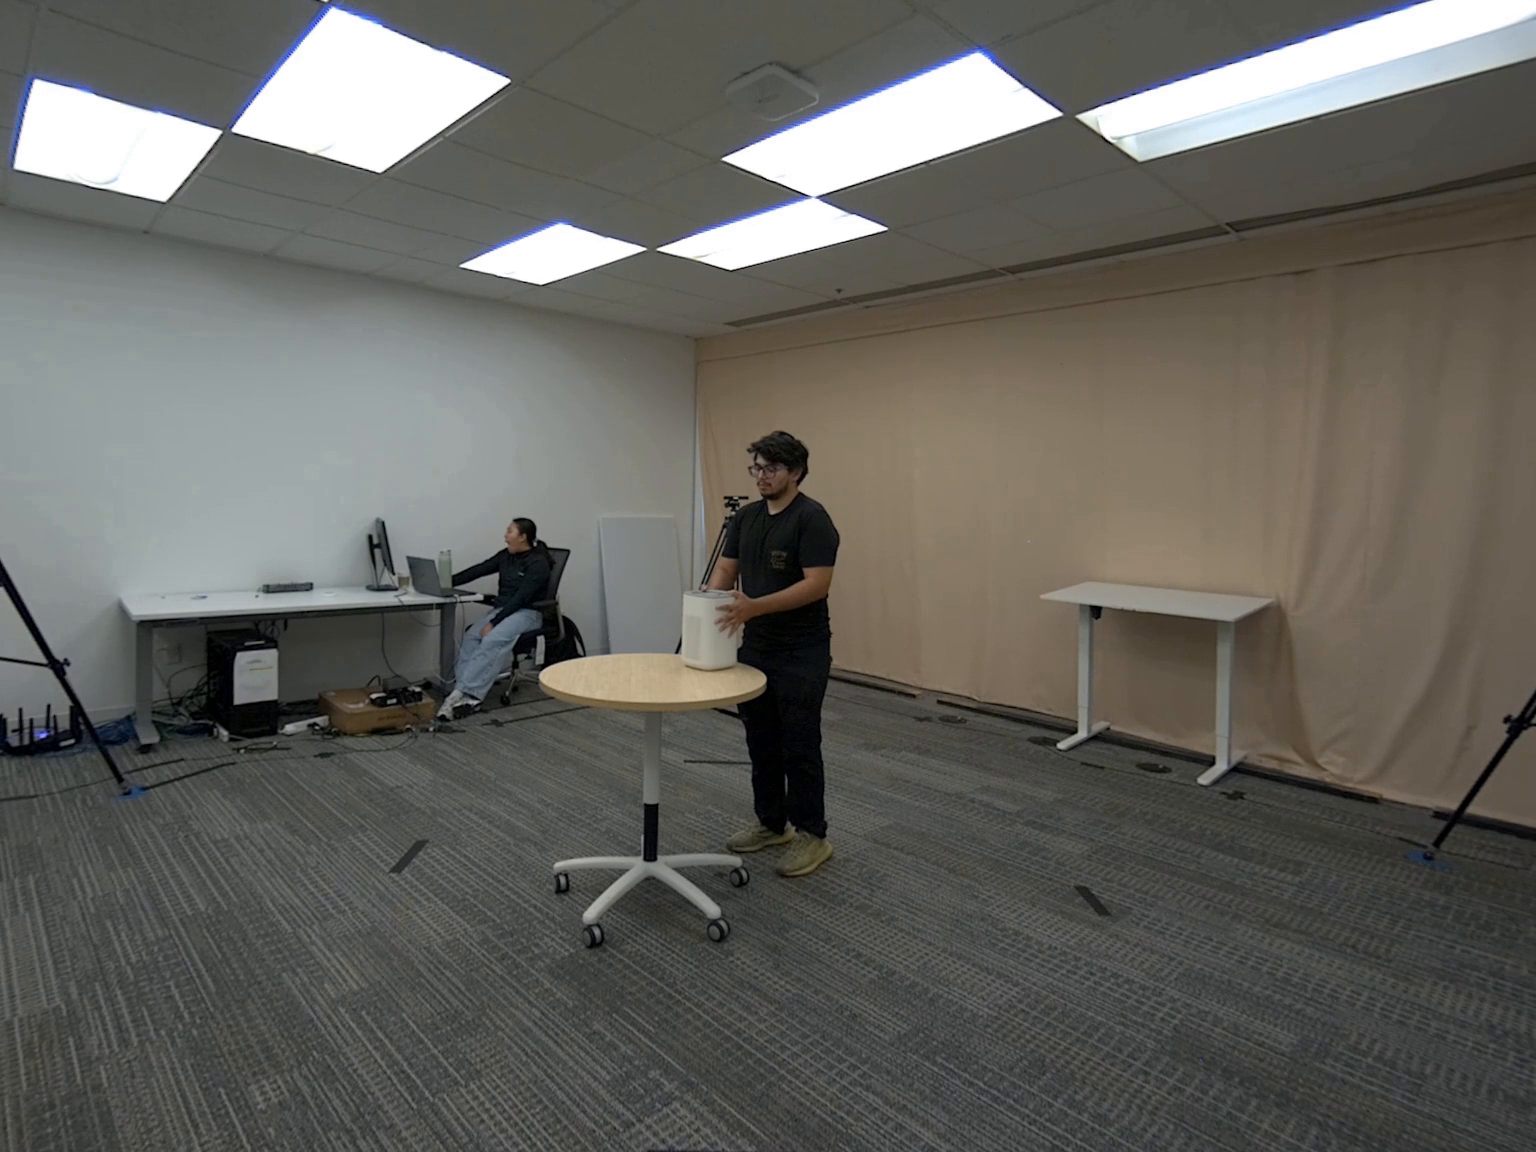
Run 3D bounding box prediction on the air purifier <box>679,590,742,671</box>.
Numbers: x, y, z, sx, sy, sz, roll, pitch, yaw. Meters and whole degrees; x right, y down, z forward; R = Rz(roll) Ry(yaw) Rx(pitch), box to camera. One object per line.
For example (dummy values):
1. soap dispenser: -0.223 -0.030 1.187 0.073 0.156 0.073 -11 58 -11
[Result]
1. air purifier: -0.212 0.192 3.019 0.176 0.265 0.167 6 5 43
